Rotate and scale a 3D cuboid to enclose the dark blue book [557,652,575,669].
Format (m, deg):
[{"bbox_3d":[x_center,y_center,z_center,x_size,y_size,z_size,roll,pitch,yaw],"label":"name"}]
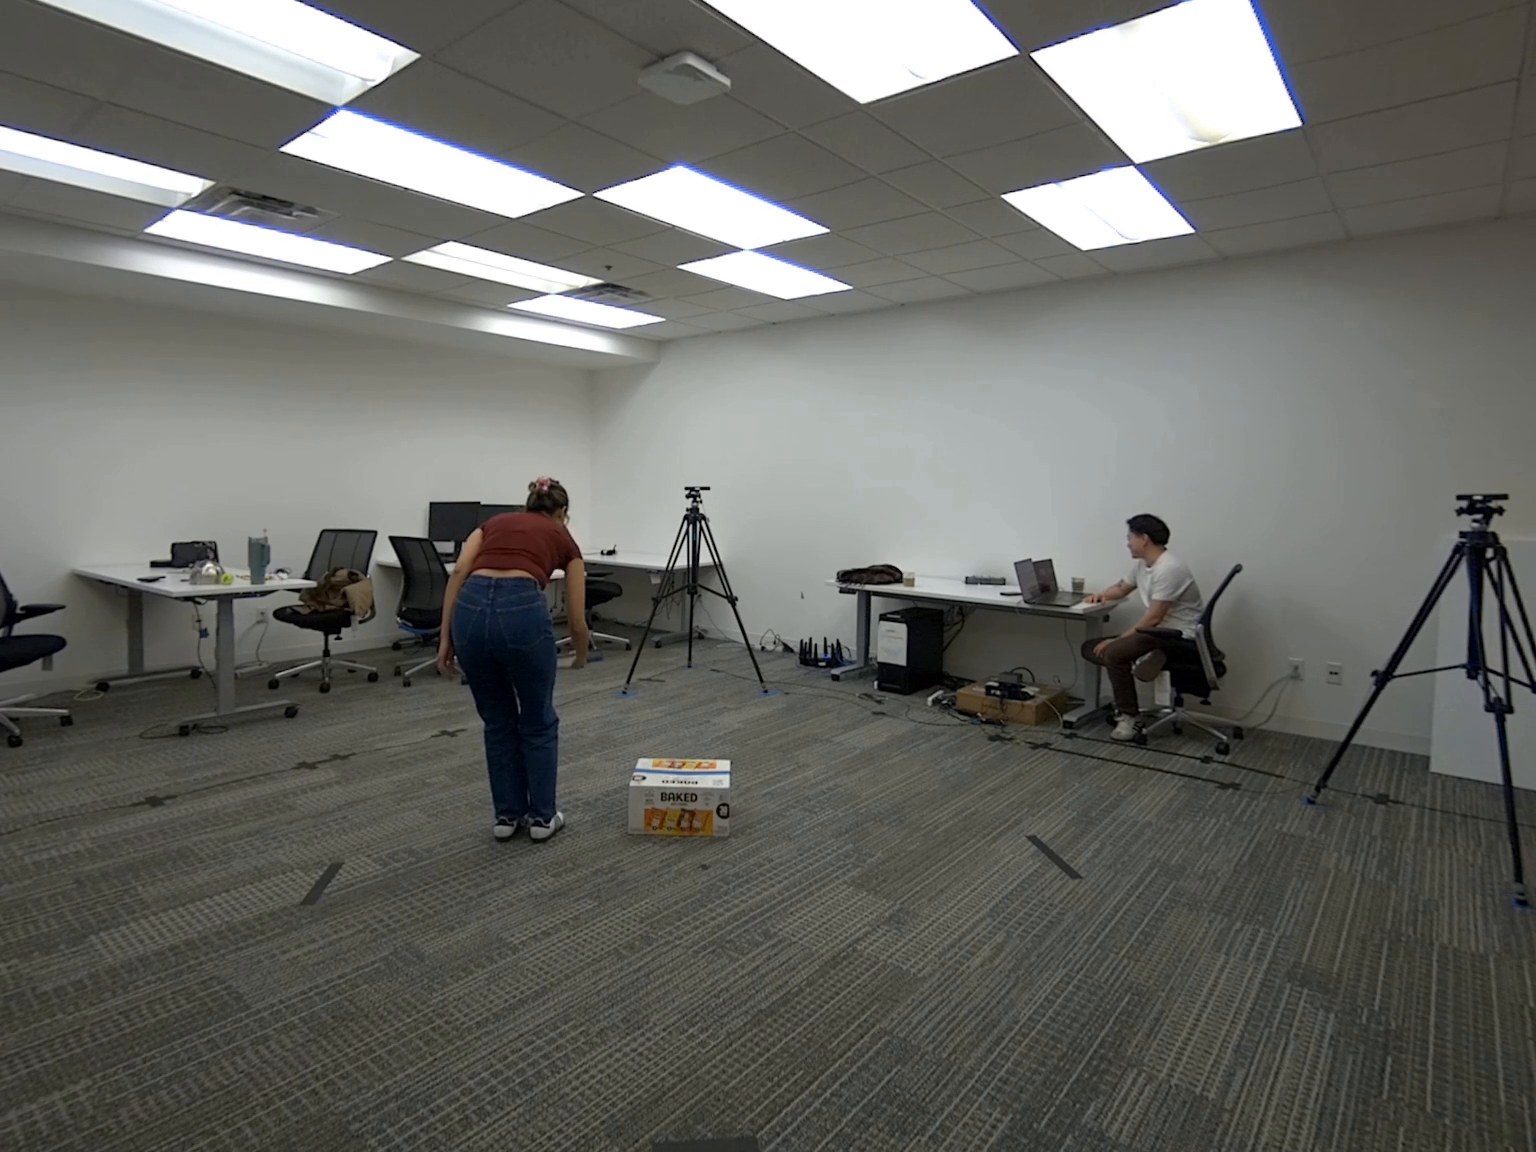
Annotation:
[{"bbox_3d":[-0.899,0.374,3.822,0.166,0.045,0.240,-7,-3,16],"label":"dark blue book"}]
